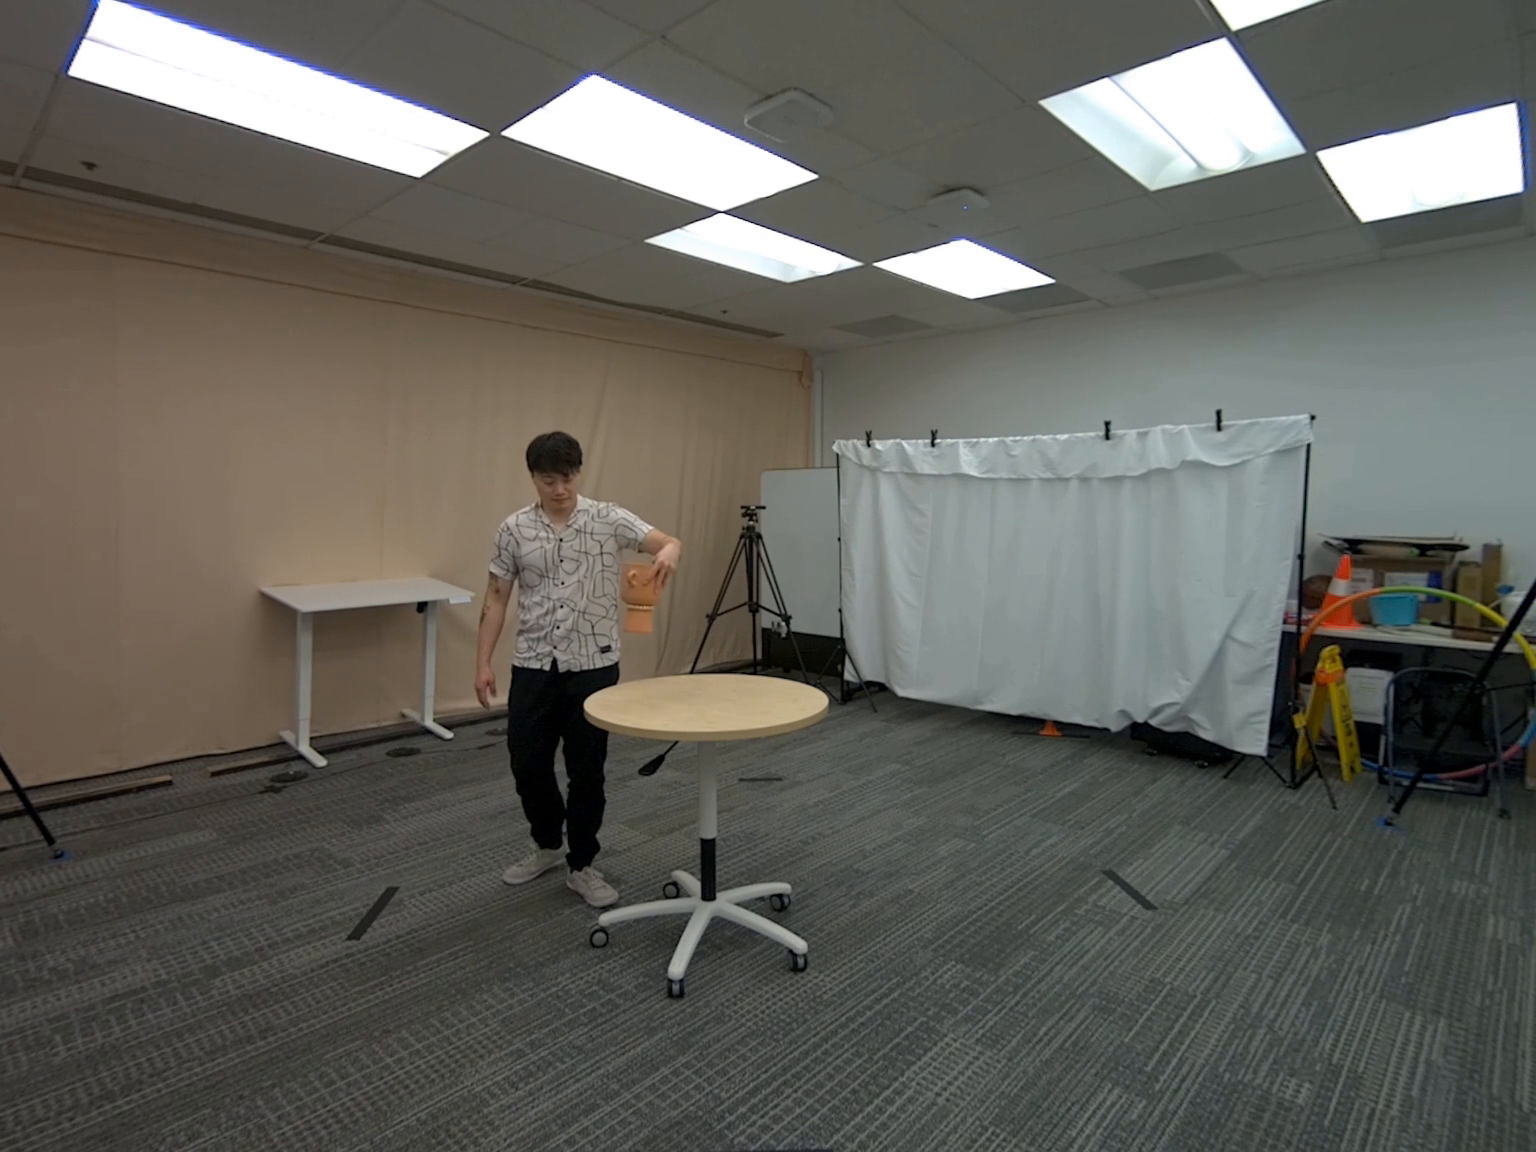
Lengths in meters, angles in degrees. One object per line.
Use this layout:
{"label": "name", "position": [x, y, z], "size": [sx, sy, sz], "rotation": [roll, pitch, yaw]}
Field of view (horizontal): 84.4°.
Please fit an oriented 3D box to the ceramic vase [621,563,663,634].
{"label": "ceramic vase", "position": [-0.411, 0.073, 2.724], "size": [0.154, 0.220, 0.139], "rotation": [1, 0, -35]}
